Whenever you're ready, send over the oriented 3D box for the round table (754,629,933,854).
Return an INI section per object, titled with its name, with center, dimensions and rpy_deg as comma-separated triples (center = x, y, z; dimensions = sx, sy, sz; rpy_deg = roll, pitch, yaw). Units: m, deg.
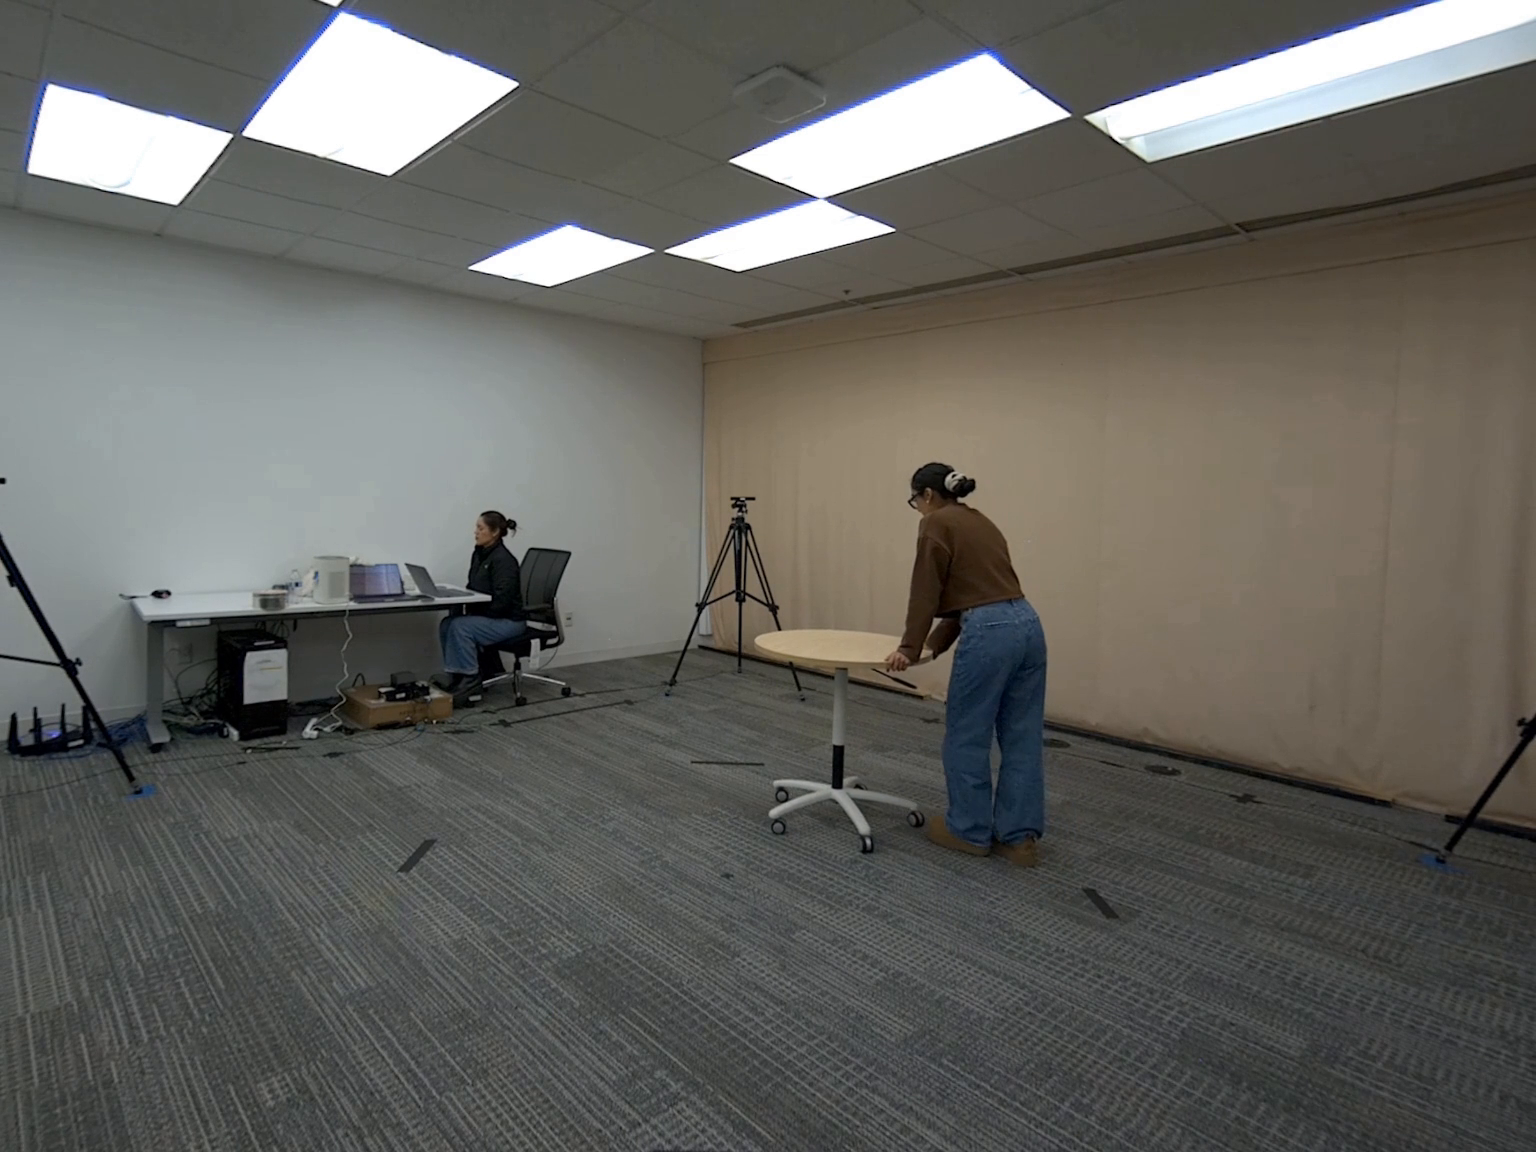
[round table]
center = 0.309, 0.684, 3.674
dimensions = 0.763, 0.792, 0.766
rpy_deg = 2, 4, -2
